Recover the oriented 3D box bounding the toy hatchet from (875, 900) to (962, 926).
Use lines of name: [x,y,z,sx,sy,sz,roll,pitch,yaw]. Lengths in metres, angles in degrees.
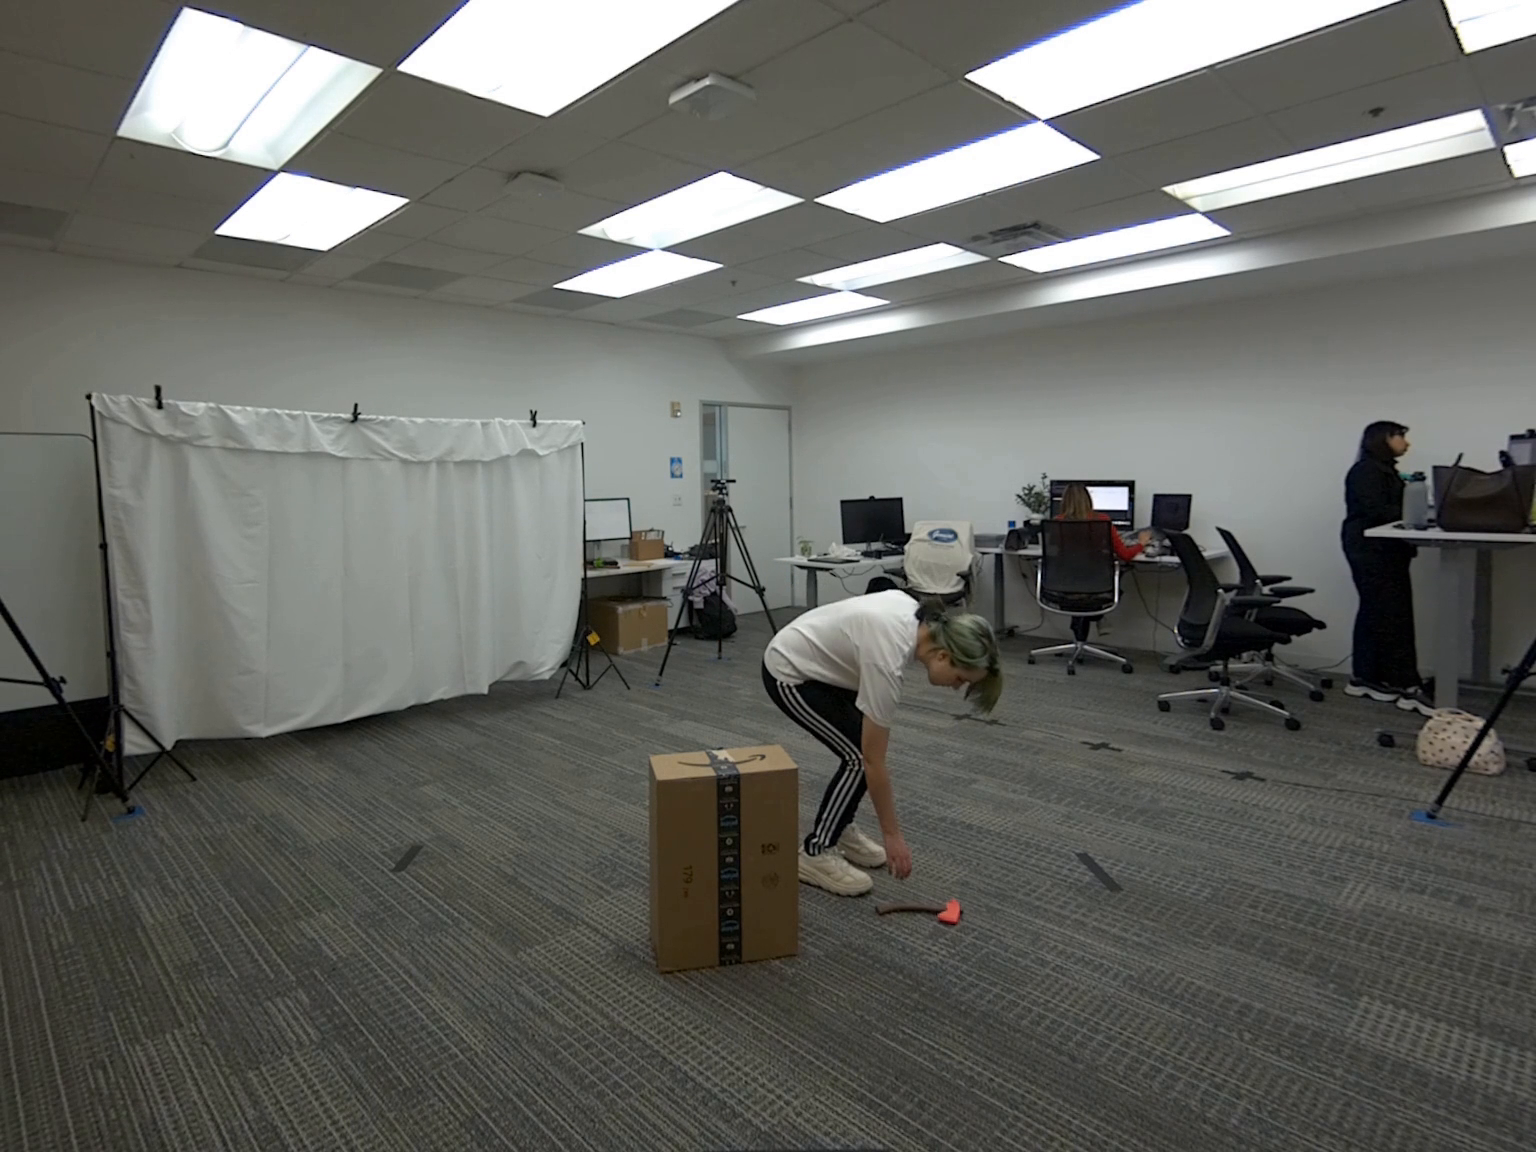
toy hatchet: [0.490,1.074,2.702,0.269,0.029,0.133,-4,10,-5]
